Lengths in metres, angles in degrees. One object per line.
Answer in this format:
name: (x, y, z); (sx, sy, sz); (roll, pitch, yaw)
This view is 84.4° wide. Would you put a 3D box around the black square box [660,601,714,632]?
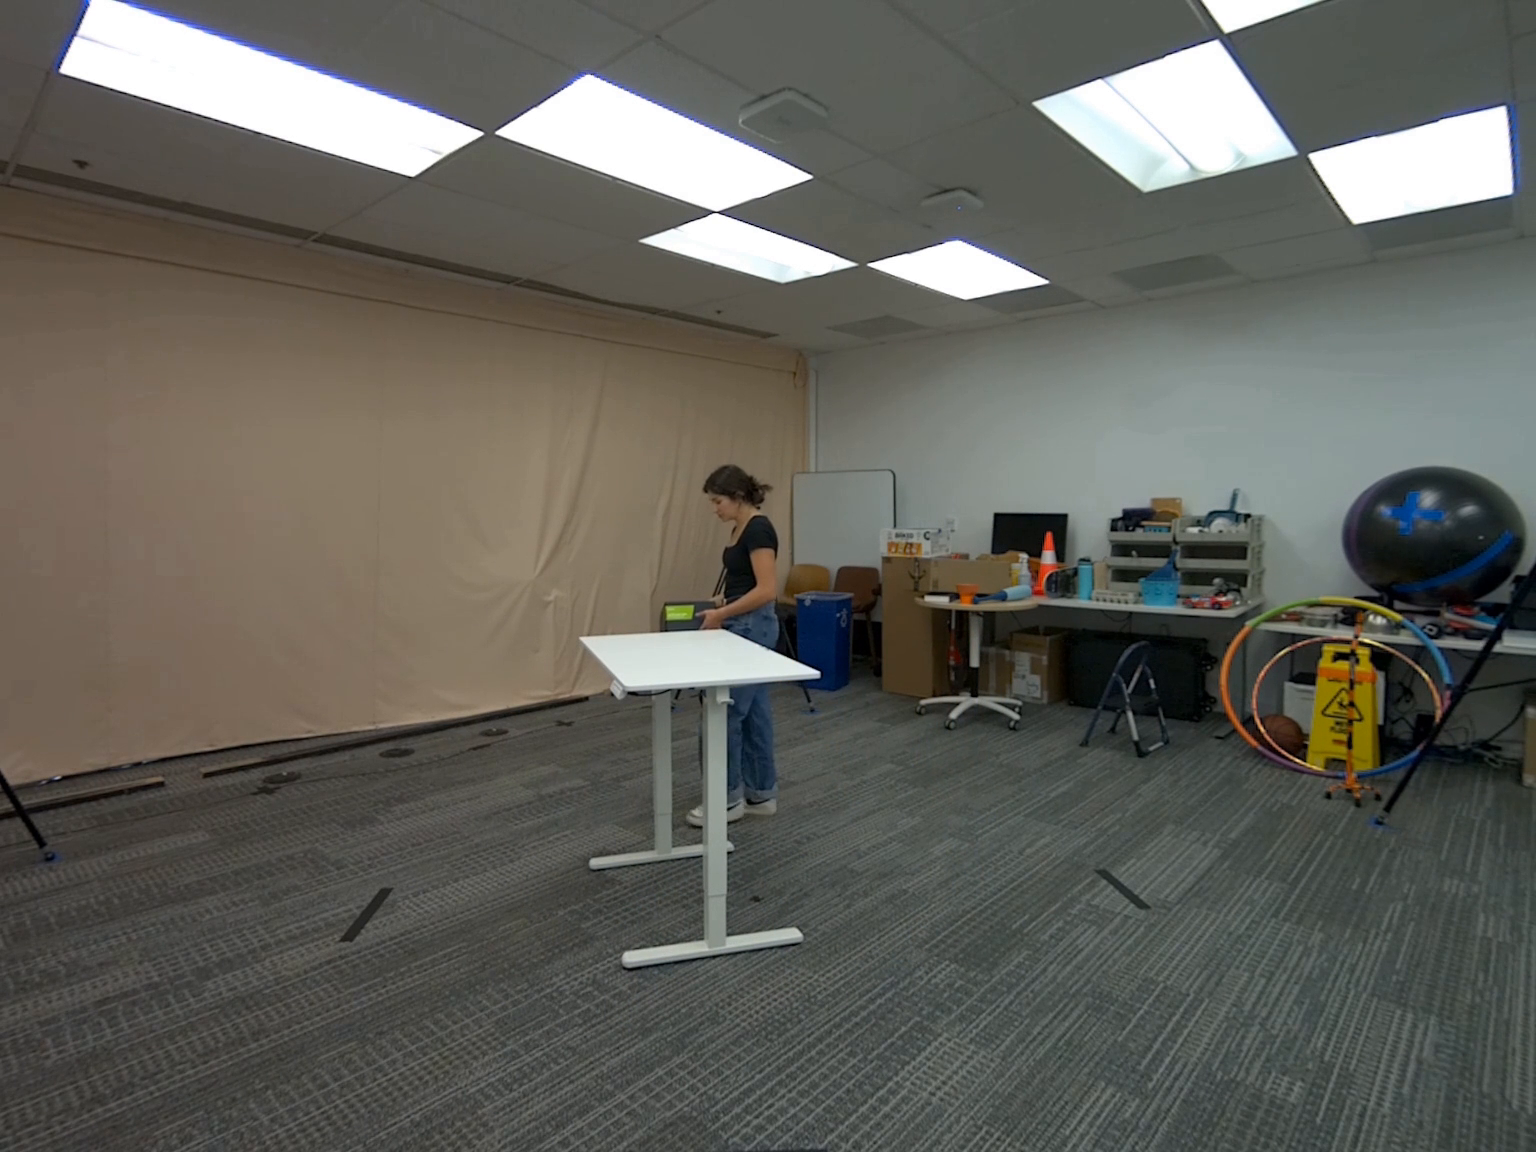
black square box: (-0.365, 0.217, 3.809); (0.224, 0.158, 0.218); (1, -18, -15)
